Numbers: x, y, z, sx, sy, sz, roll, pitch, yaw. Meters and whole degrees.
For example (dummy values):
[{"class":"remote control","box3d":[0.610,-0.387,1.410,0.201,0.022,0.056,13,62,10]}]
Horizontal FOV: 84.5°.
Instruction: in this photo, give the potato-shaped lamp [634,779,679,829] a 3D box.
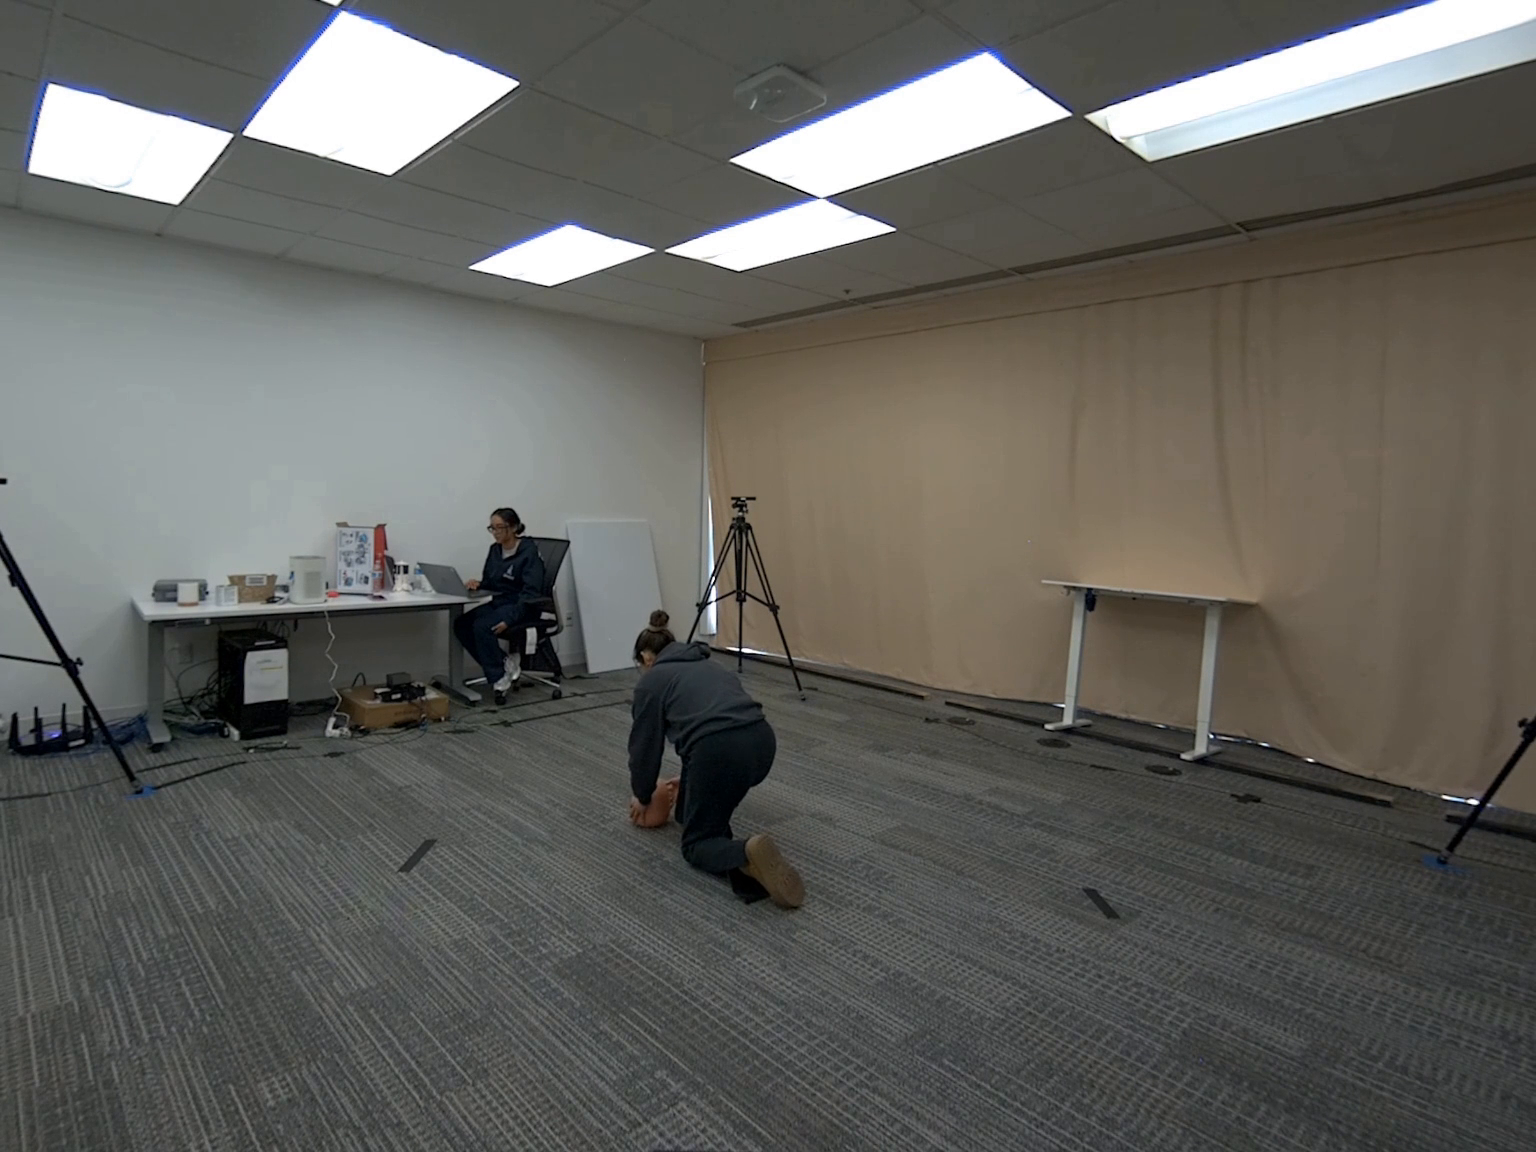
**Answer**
[{"class":"potato-shaped lamp","box3d":[-0.508,0.954,3.588,0.161,0.198,0.175,1,2,-39]}]
